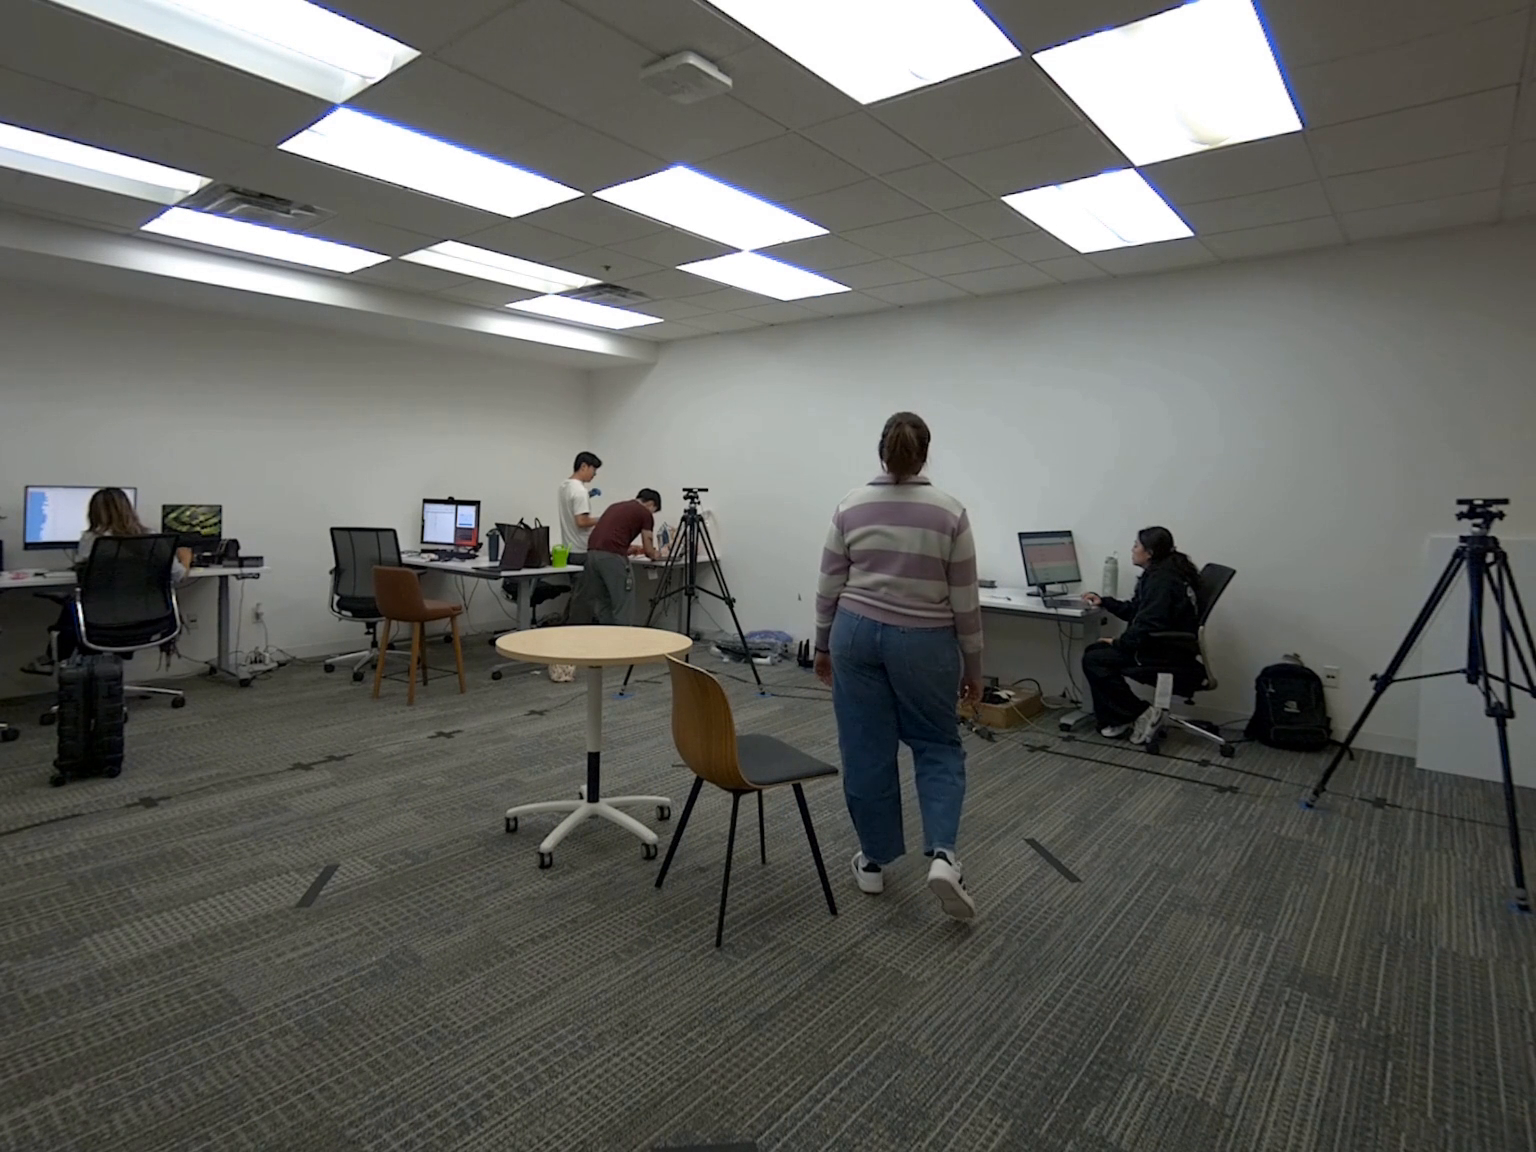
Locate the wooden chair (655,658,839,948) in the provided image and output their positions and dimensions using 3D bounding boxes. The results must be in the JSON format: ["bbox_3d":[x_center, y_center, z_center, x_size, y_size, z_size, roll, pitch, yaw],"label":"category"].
[{"bbox_3d":[-0.073,0.669,2.853,0.510,0.873,0.492,-5,6,-31],"label":"wooden chair"}]
